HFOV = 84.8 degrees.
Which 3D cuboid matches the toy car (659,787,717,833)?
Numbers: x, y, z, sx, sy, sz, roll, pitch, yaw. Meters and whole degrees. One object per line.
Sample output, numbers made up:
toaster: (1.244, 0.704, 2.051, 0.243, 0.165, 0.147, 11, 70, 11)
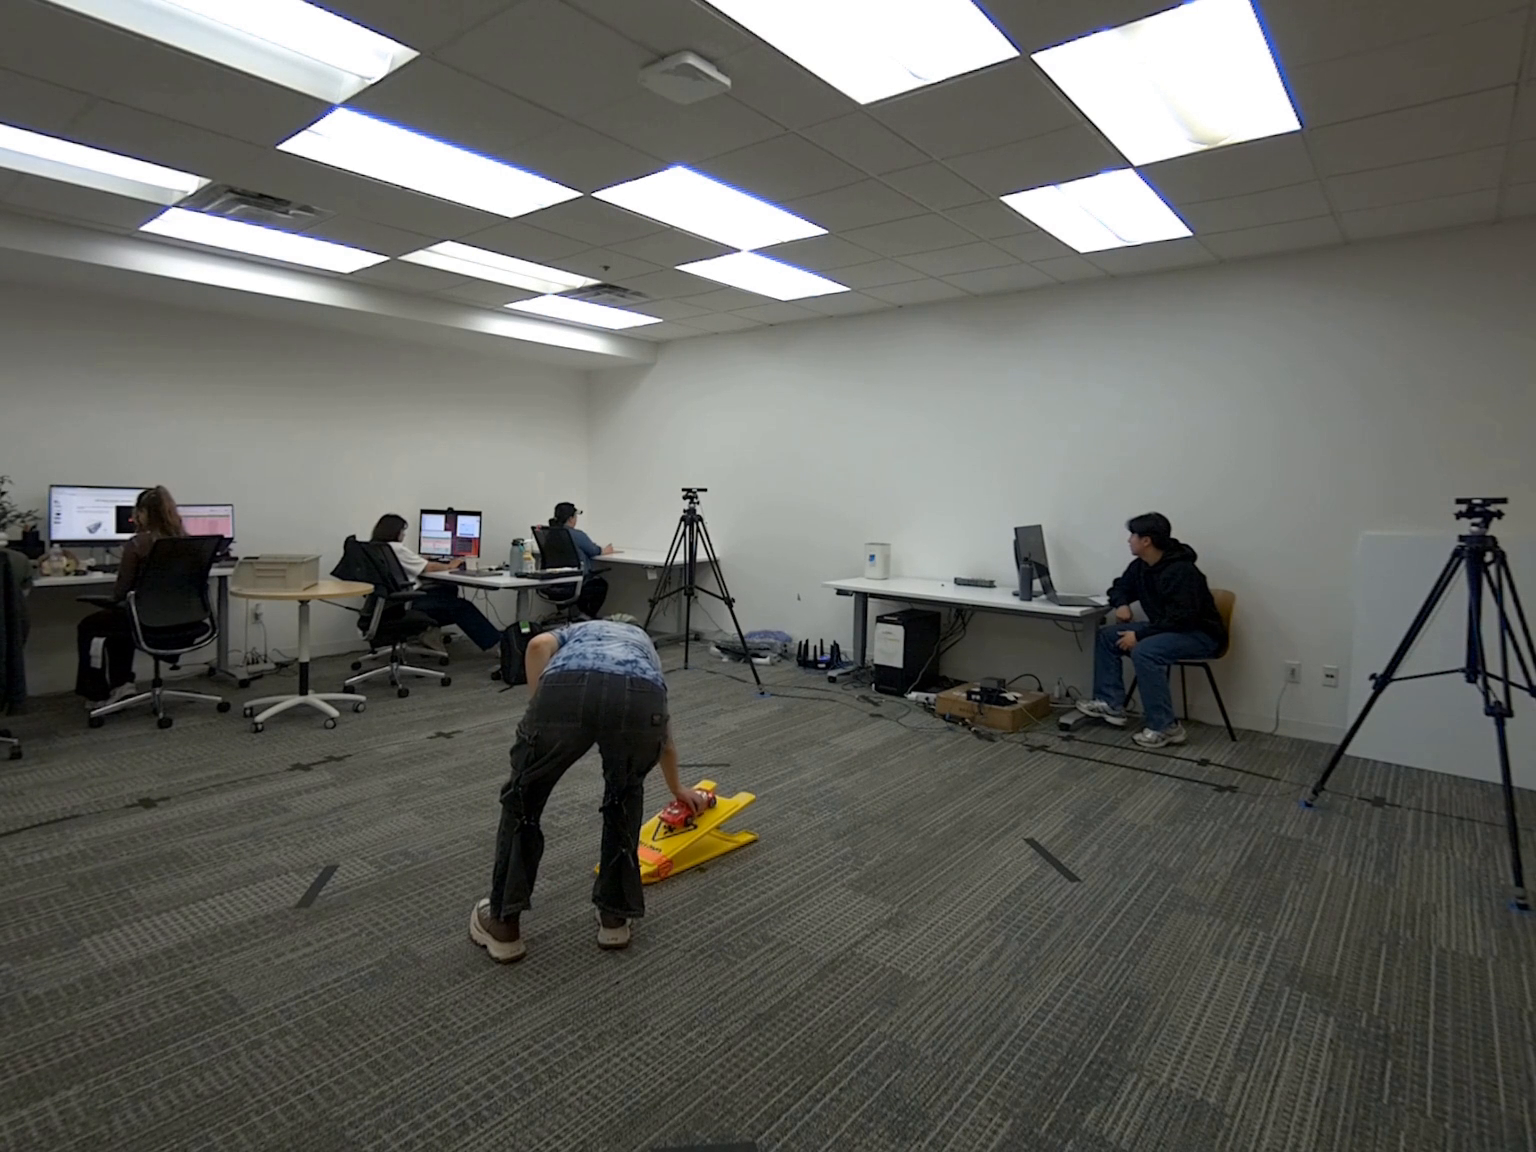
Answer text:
toy car: (-0.324, 0.891, 3.260, 0.135, 0.082, 0.248, 8, 12, 38)
